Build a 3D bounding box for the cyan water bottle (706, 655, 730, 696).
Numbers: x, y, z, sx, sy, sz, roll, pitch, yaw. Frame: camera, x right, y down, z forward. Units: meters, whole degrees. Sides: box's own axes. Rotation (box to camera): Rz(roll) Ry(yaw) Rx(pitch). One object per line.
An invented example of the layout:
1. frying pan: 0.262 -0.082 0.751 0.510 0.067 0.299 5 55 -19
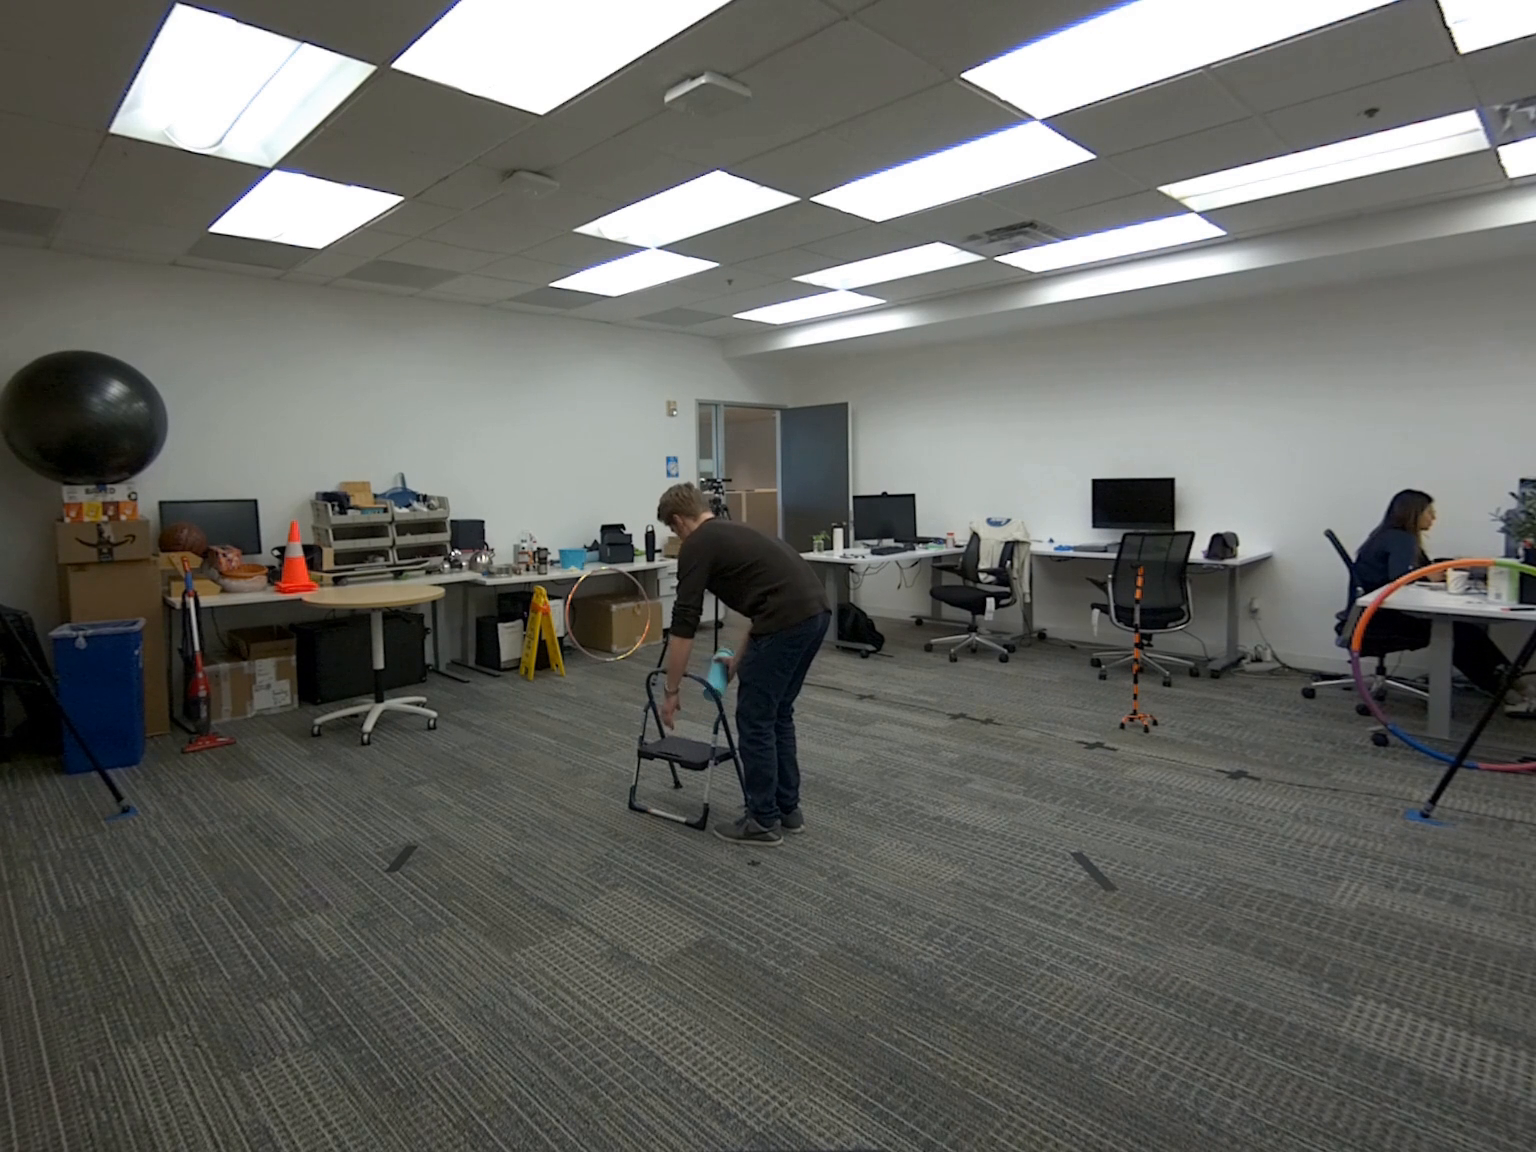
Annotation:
1. cyan water bottle: -0.226 0.419 3.786 0.094 0.090 0.287 0 33 14
